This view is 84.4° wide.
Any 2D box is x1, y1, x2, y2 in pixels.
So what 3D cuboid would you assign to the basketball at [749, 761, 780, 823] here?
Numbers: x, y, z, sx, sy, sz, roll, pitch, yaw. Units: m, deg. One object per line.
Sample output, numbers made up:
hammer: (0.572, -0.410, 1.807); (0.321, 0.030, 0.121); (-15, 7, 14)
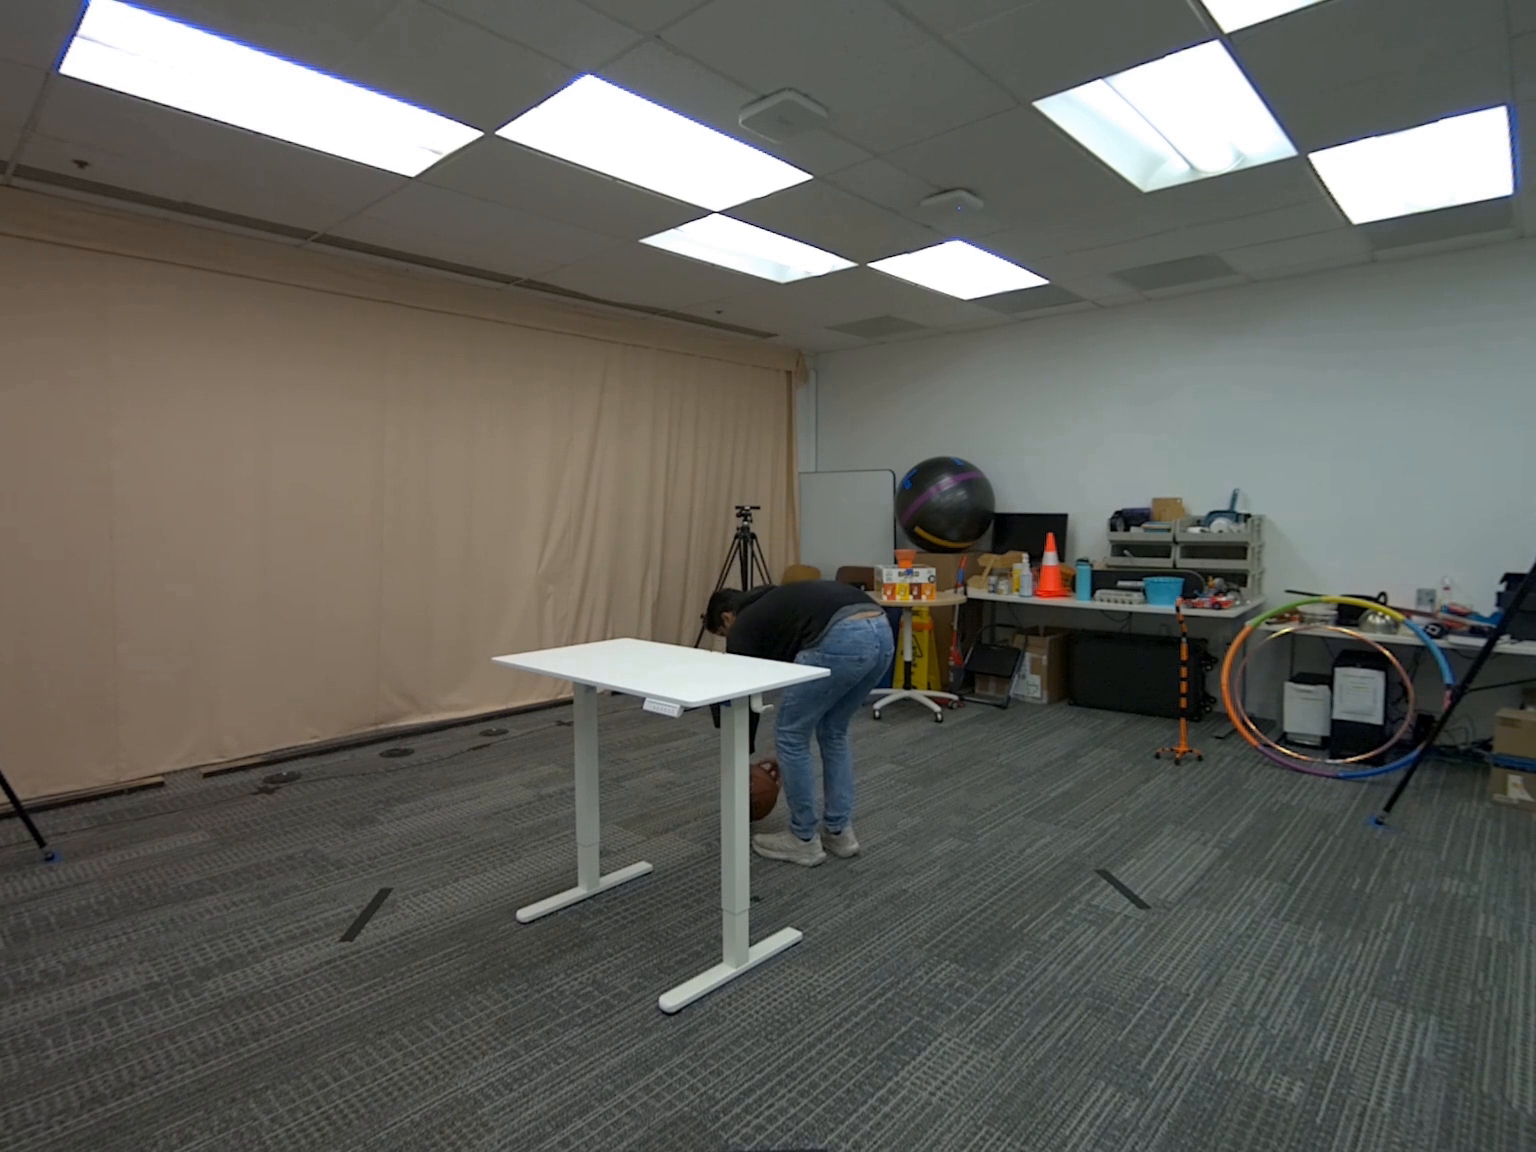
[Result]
basketball: (-0.071, 0.911, 3.650); (0.236, 0.235, 0.237); (0, 4, -2)
